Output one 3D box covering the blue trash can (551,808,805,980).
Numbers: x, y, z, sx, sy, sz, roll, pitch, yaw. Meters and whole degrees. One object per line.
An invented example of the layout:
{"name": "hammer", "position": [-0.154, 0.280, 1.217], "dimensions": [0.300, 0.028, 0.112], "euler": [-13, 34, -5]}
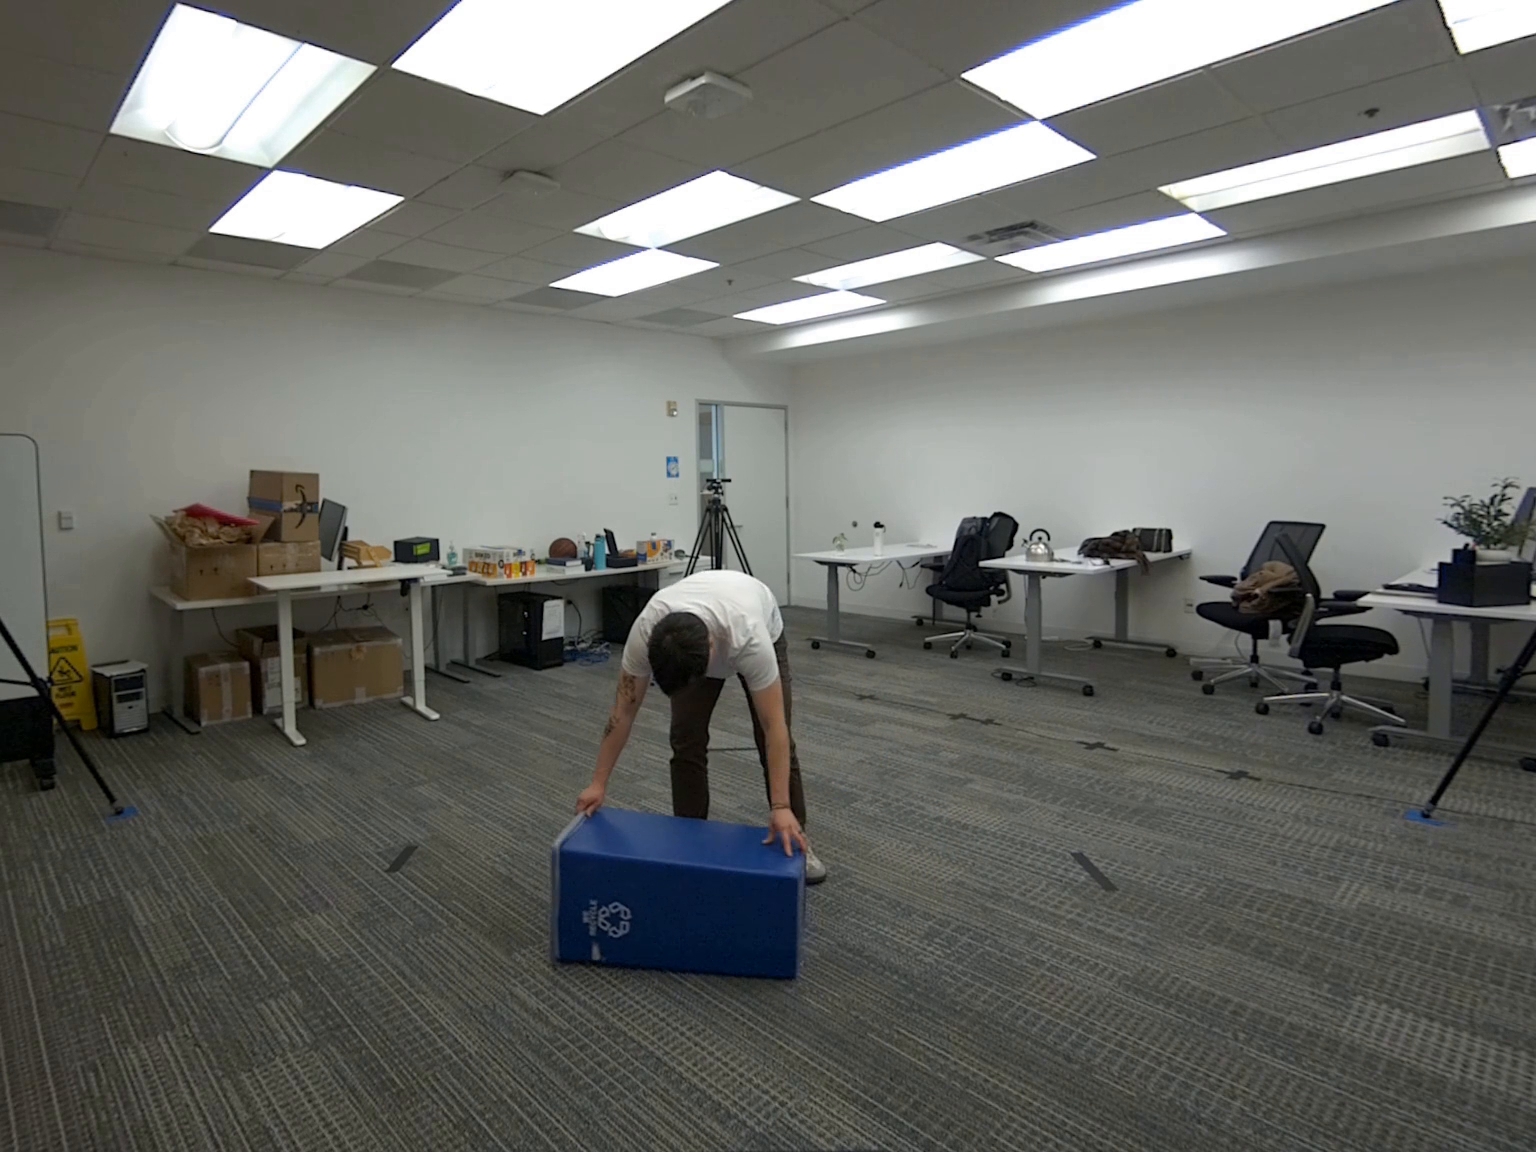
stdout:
{"name": "blue trash can", "position": [-0.252, 0.939, 2.566], "dimensions": [0.721, 0.377, 0.371], "euler": [2, 4, 10]}
